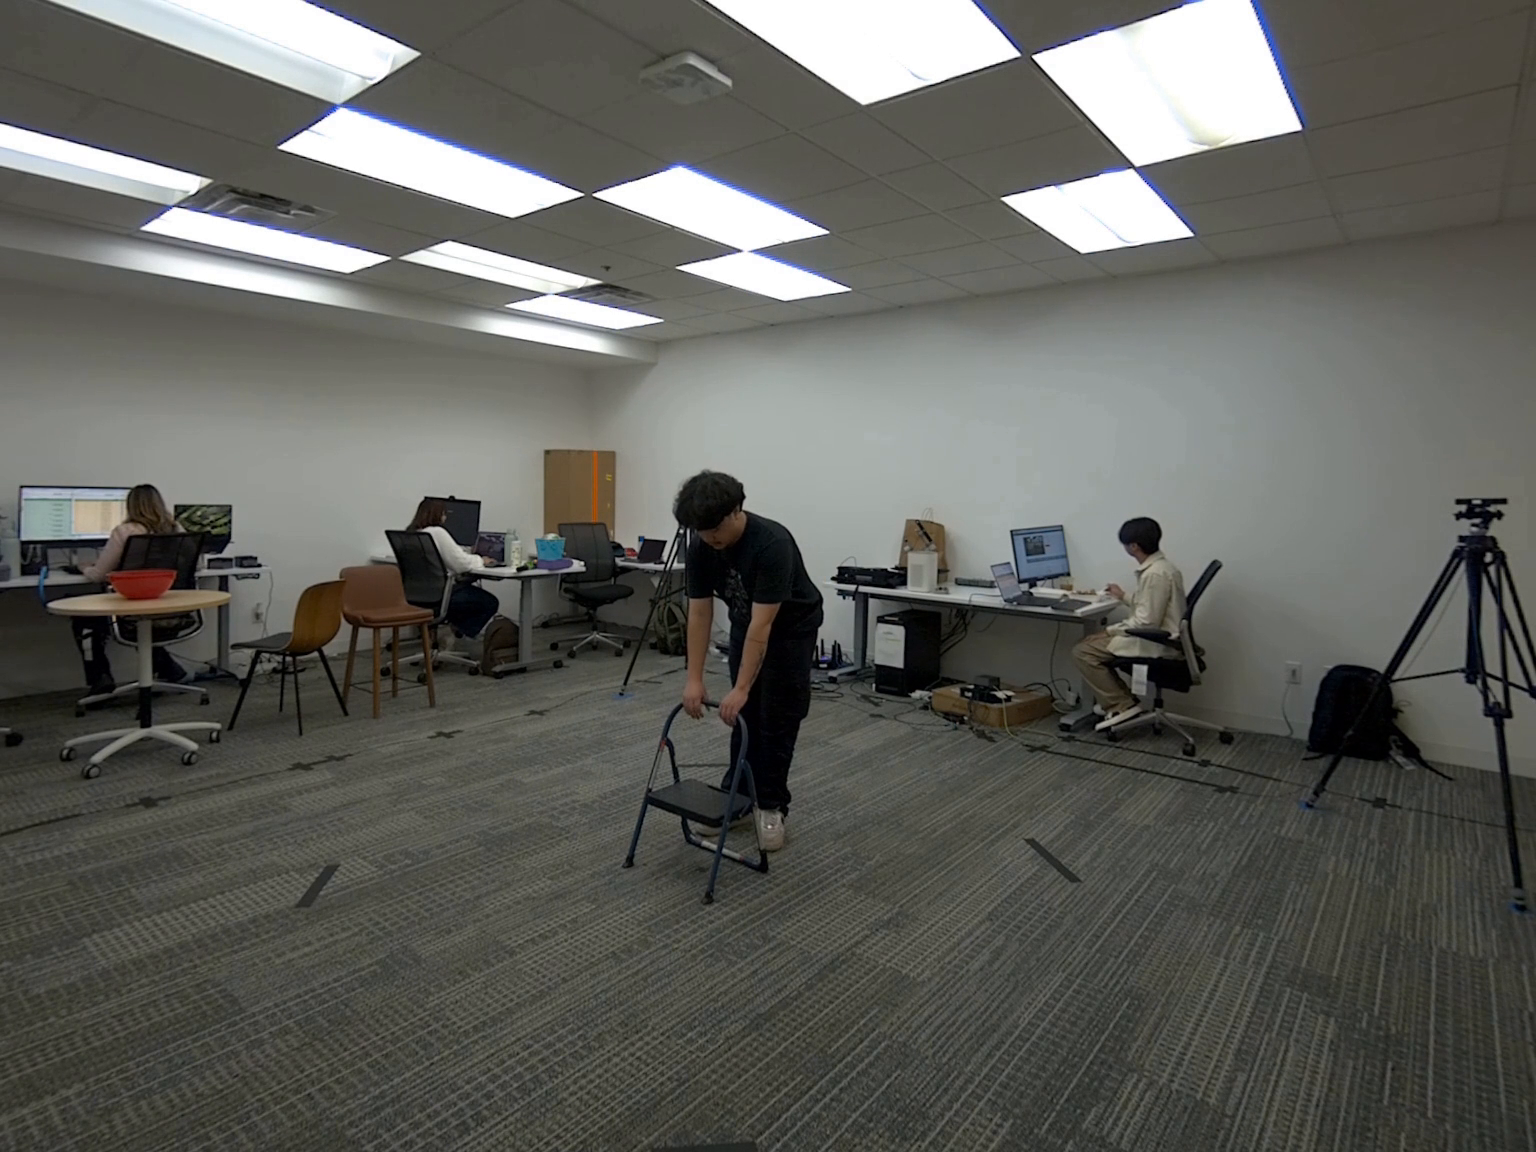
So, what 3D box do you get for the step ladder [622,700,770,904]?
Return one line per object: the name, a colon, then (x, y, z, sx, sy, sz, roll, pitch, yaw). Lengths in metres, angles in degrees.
step ladder: (-0.266, 0.768, 3.094, 0.445, 0.604, 0.339, 4, 5, 39)
